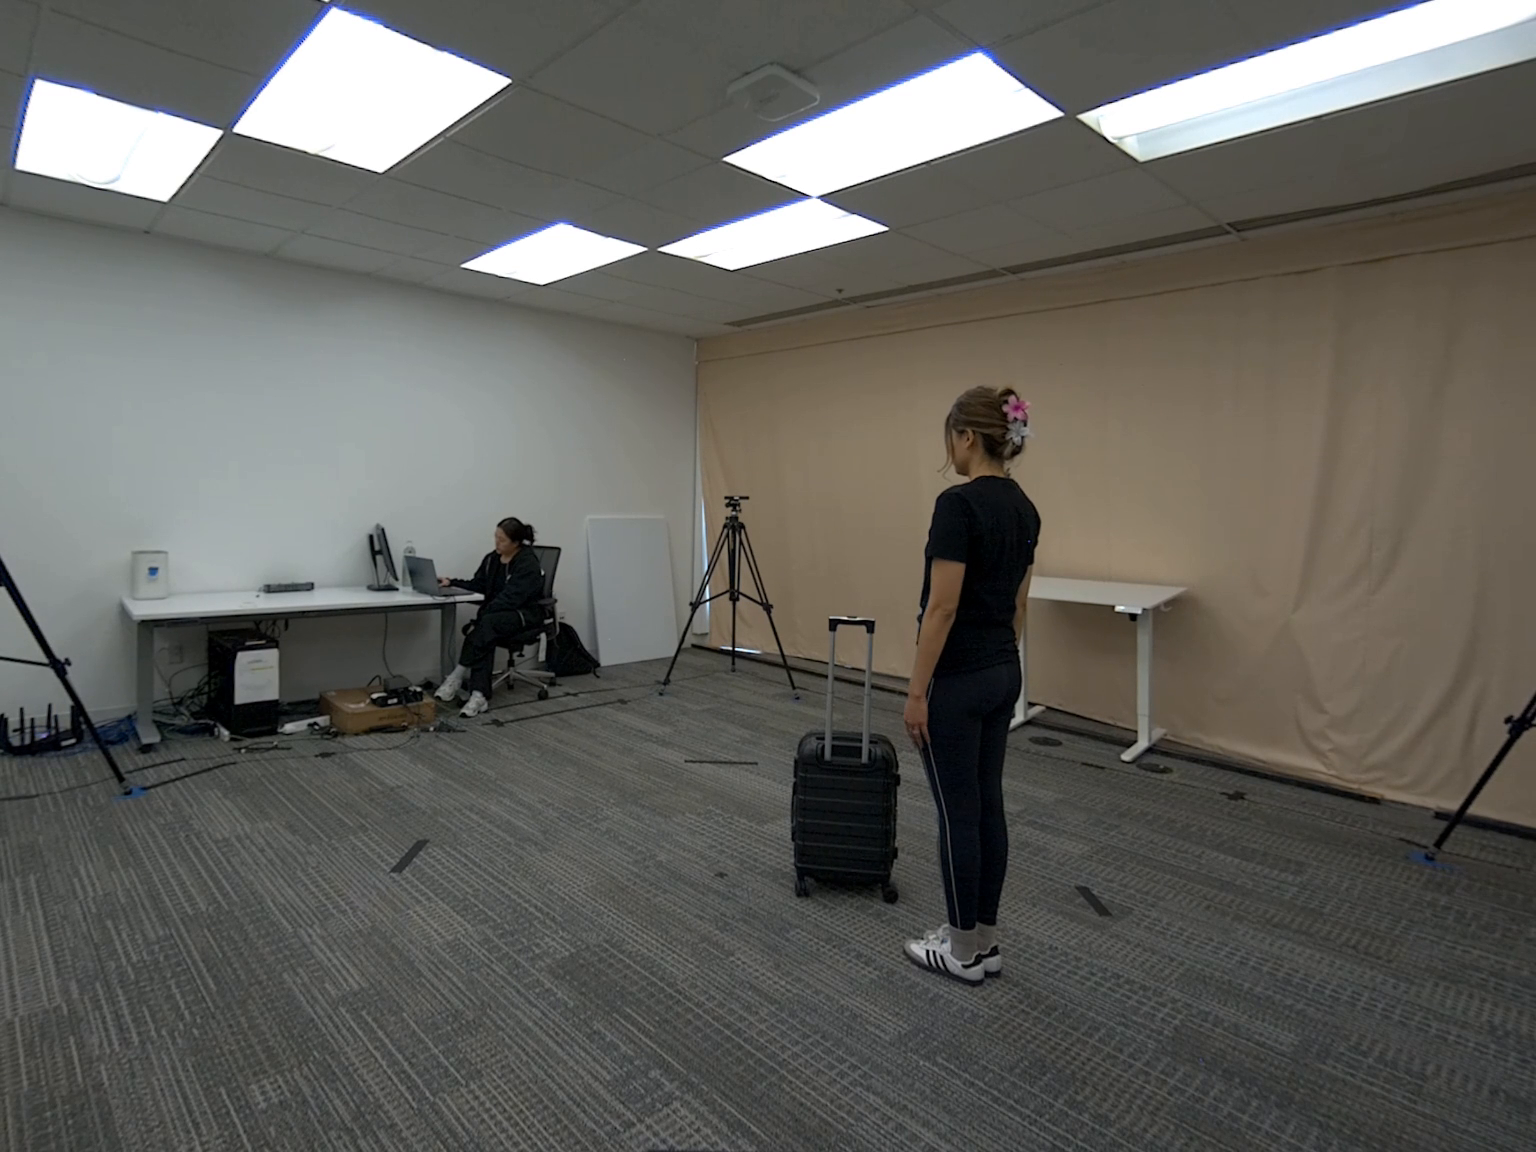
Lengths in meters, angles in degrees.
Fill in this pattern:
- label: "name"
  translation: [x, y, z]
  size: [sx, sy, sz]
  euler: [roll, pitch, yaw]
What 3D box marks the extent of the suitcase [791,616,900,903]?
- label: "suitcase"
  translation: [0.277, 0.640, 3.044]
  size: [0.386, 0.978, 0.256]
  euler: [2, 1, 5]
